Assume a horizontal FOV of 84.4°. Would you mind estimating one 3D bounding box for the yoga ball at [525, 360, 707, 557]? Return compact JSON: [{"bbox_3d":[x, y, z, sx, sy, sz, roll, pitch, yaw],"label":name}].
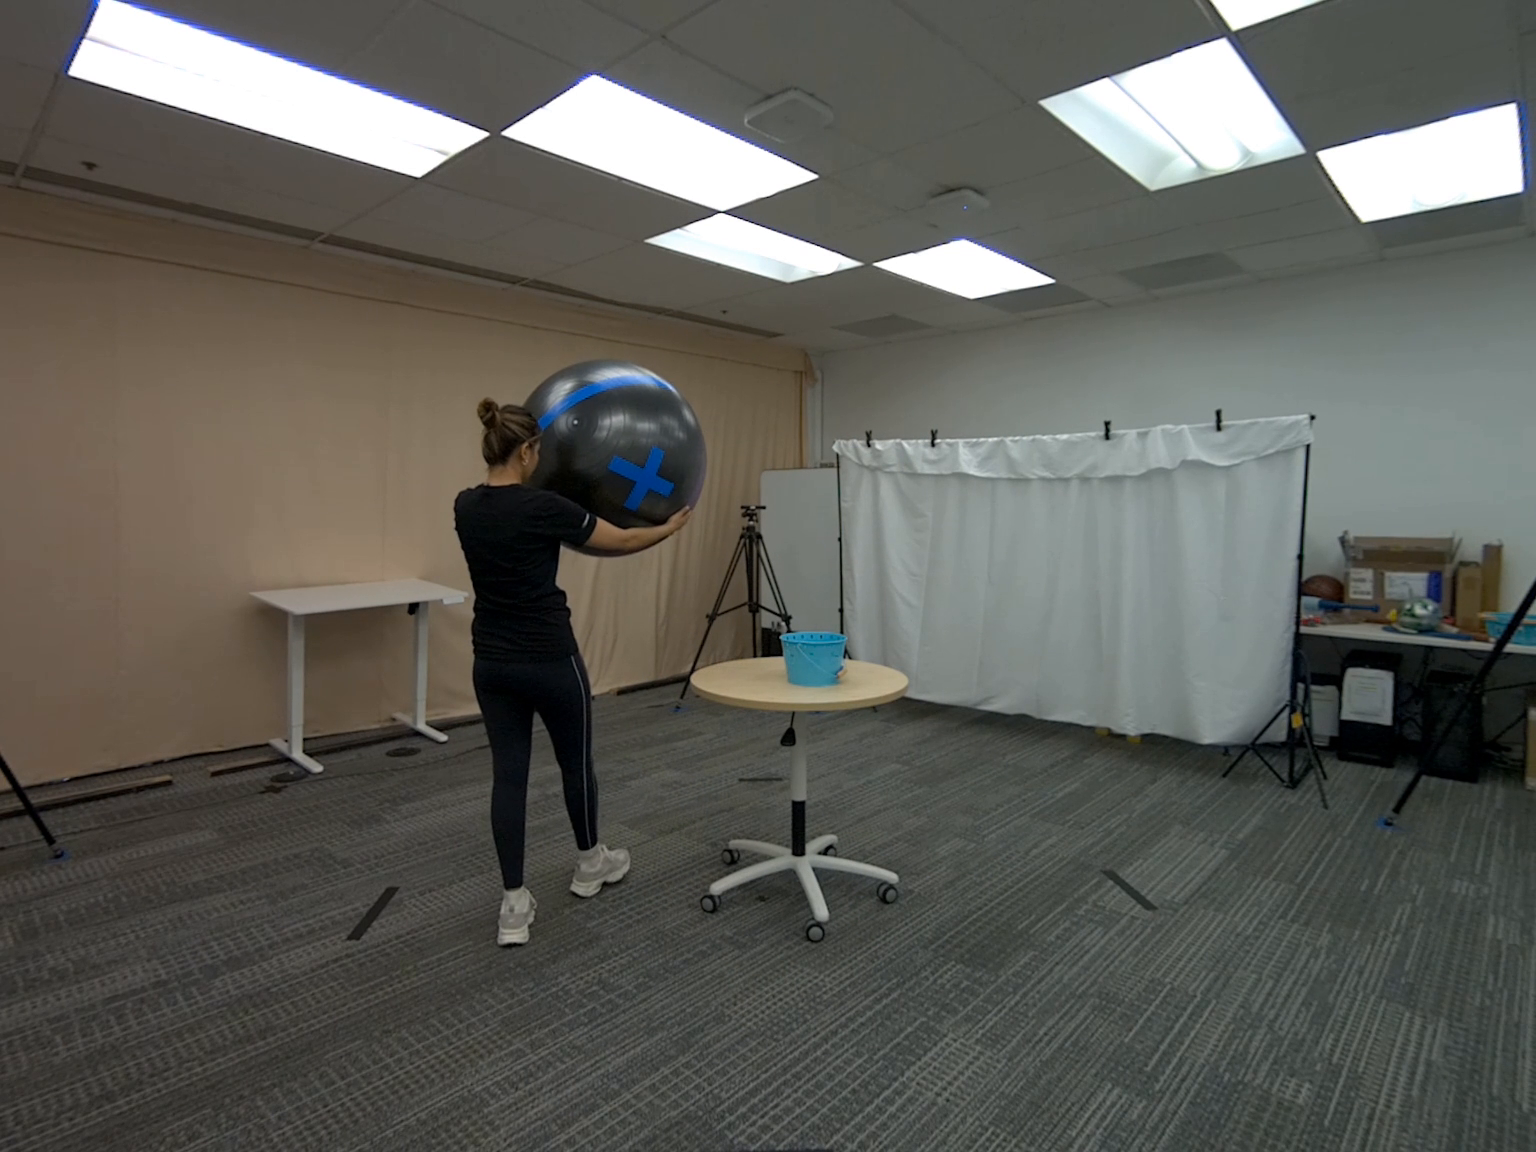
[{"bbox_3d":[-0.616,-0.444,3.259,0.757,0.756,0.761,0,4,-2],"label":"yoga ball"}]
